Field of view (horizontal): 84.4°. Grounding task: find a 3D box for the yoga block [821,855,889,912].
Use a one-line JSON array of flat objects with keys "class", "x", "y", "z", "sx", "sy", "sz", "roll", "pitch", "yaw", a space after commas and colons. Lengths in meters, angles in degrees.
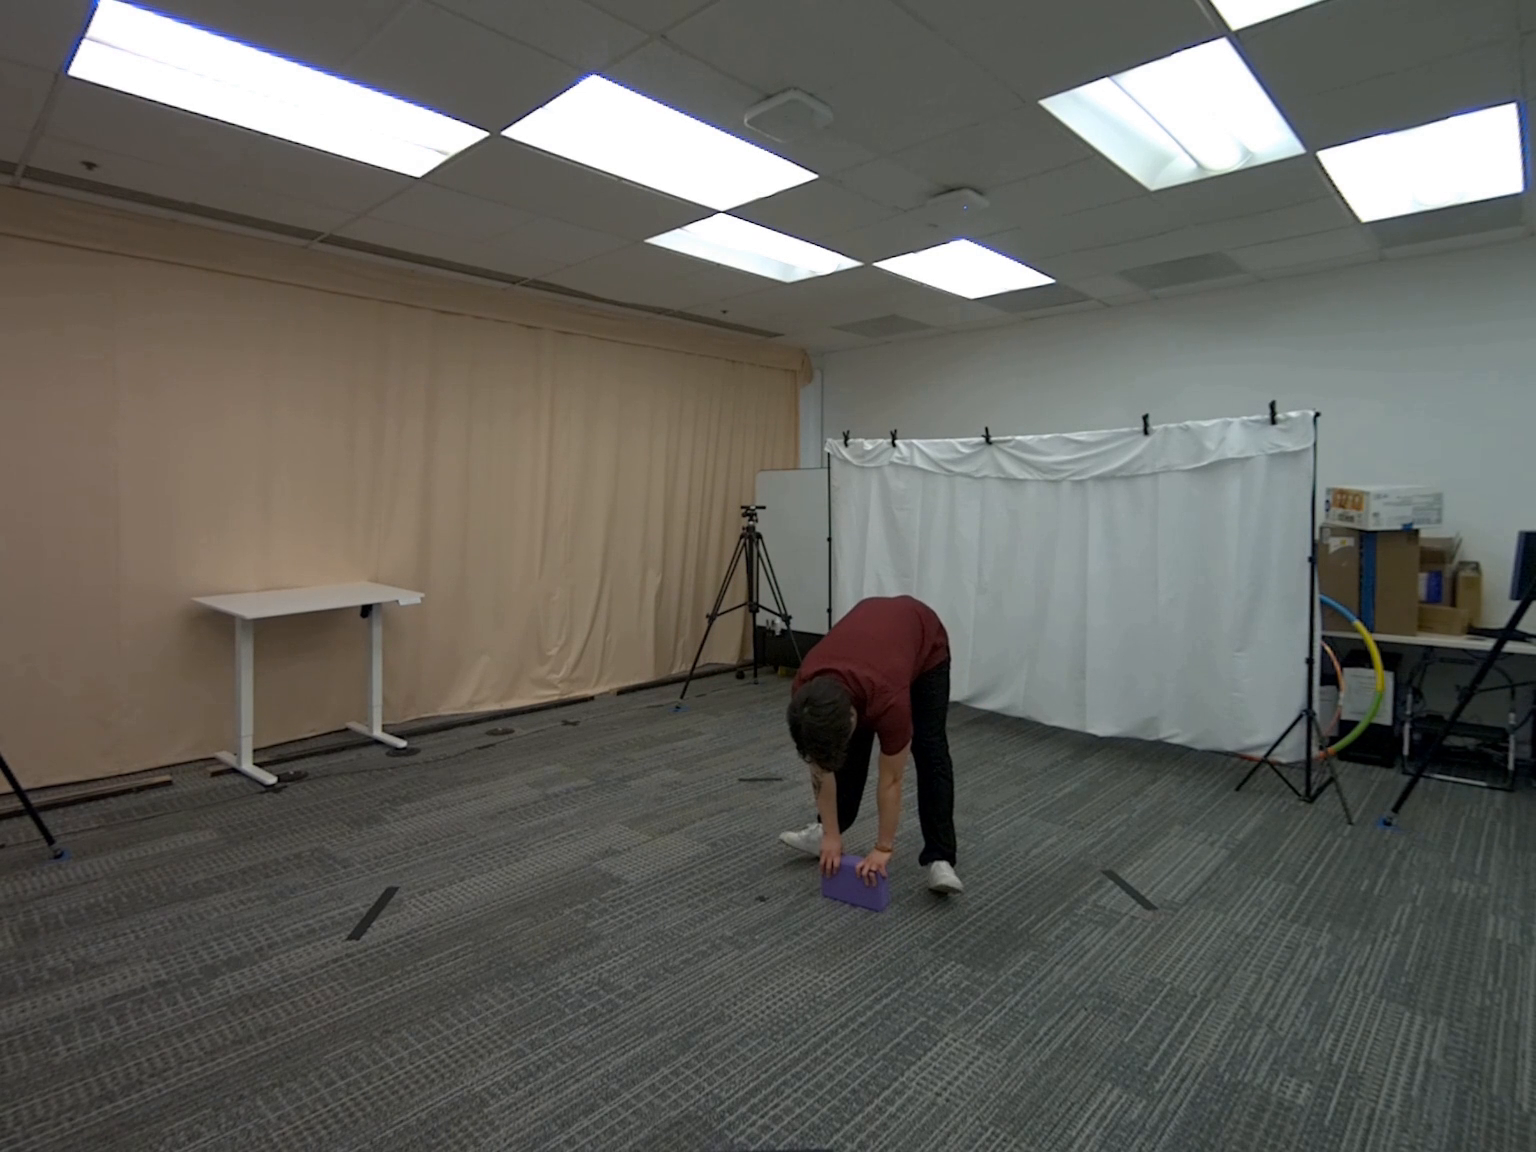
[{"class": "yoga block", "x": 0.315, "y": 1.068, "z": 2.966, "sx": 0.236, "sy": 0.149, "sz": 0.074, "roll": 3, "pitch": 2, "yaw": 29}]
